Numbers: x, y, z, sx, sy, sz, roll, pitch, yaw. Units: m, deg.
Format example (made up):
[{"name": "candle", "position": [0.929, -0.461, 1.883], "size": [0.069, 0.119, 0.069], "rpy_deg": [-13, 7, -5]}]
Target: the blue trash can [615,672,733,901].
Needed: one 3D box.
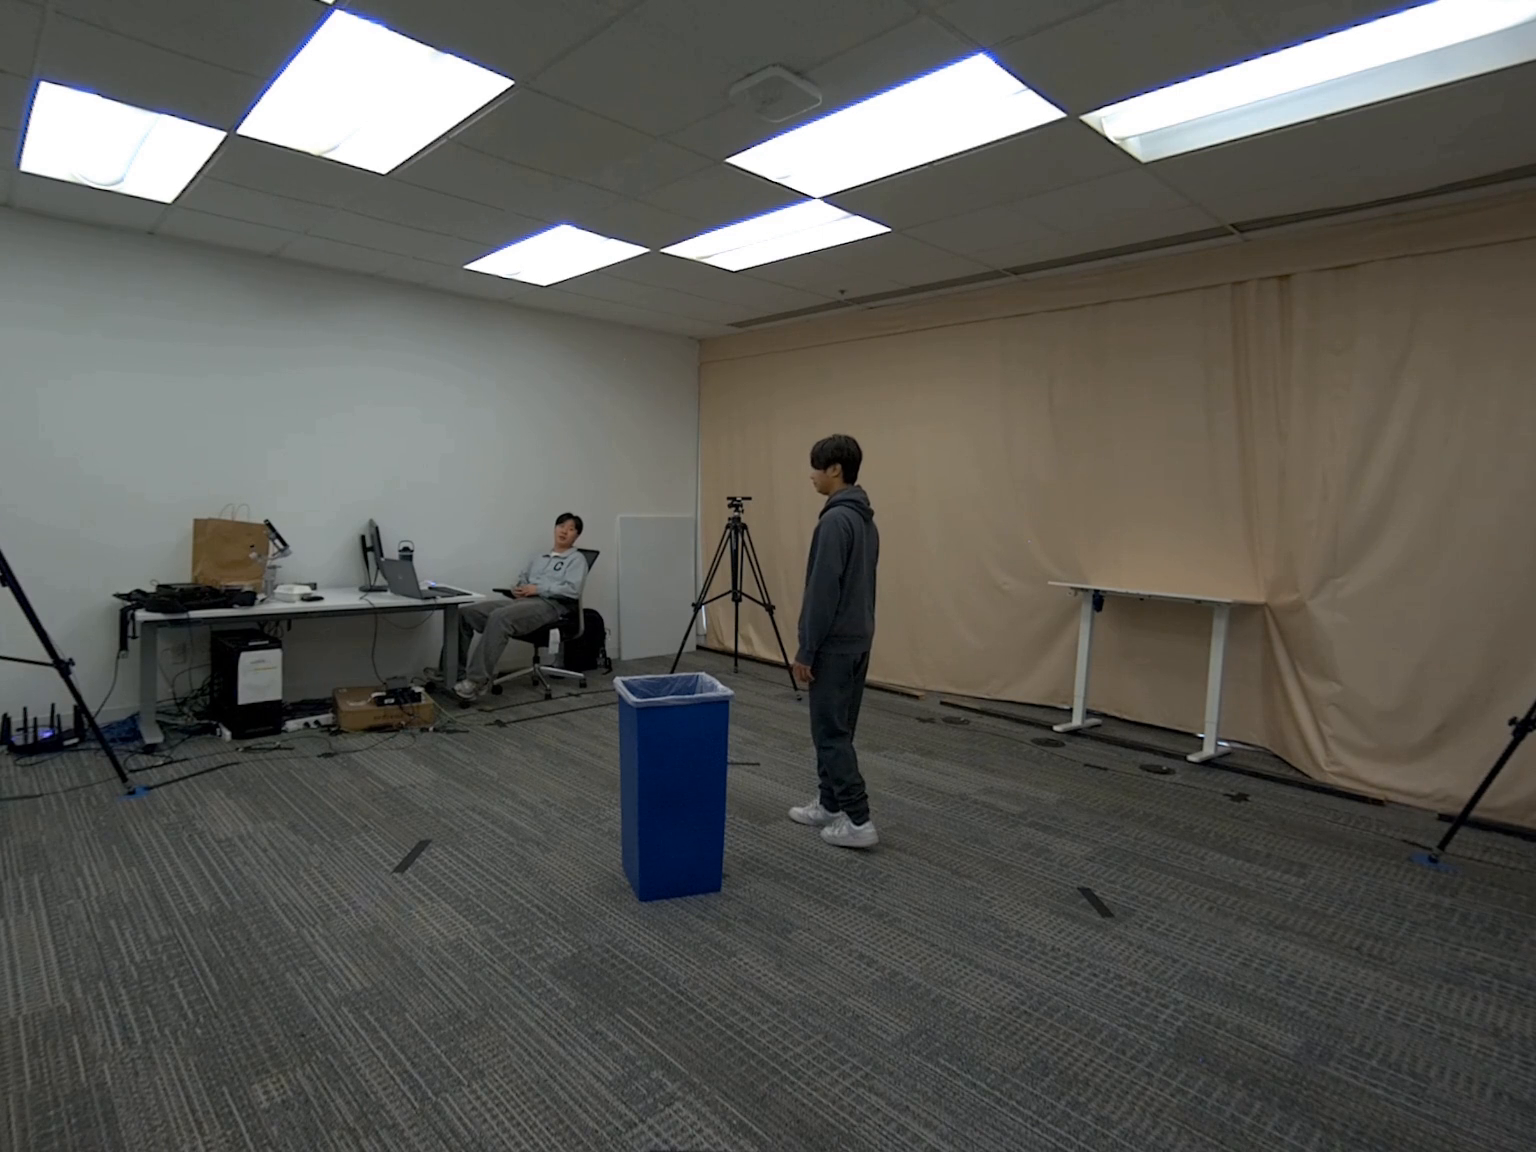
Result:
[{"name": "blue trash can", "position": [-0.359, 0.748, 3.046], "size": [0.368, 0.712, 0.385], "rpy_deg": [0, 3, -21]}]
